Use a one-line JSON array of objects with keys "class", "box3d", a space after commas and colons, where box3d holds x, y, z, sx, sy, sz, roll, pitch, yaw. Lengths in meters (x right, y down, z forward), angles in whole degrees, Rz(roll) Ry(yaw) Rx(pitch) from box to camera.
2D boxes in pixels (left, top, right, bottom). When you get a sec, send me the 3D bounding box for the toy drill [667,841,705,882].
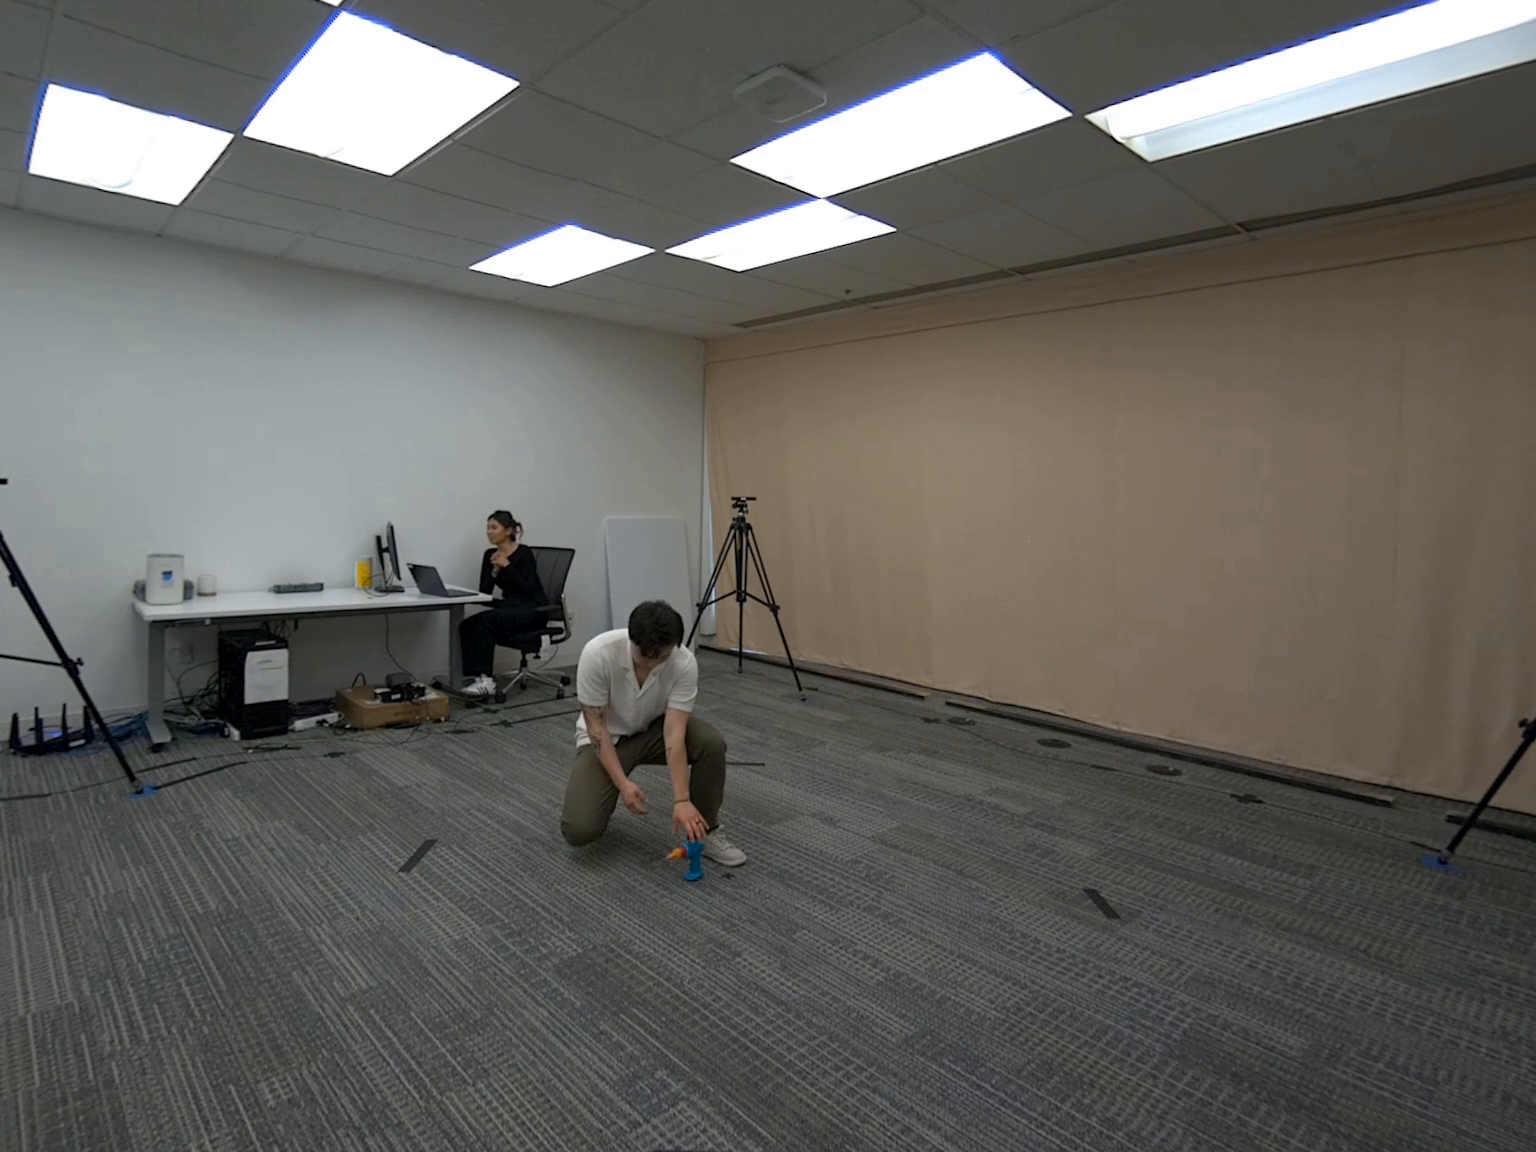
[{"class": "toy drill", "box3d": [-0.311, 1.038, 3.050, 0.063, 0.146, 0.166, 3, 5, 42]}]
